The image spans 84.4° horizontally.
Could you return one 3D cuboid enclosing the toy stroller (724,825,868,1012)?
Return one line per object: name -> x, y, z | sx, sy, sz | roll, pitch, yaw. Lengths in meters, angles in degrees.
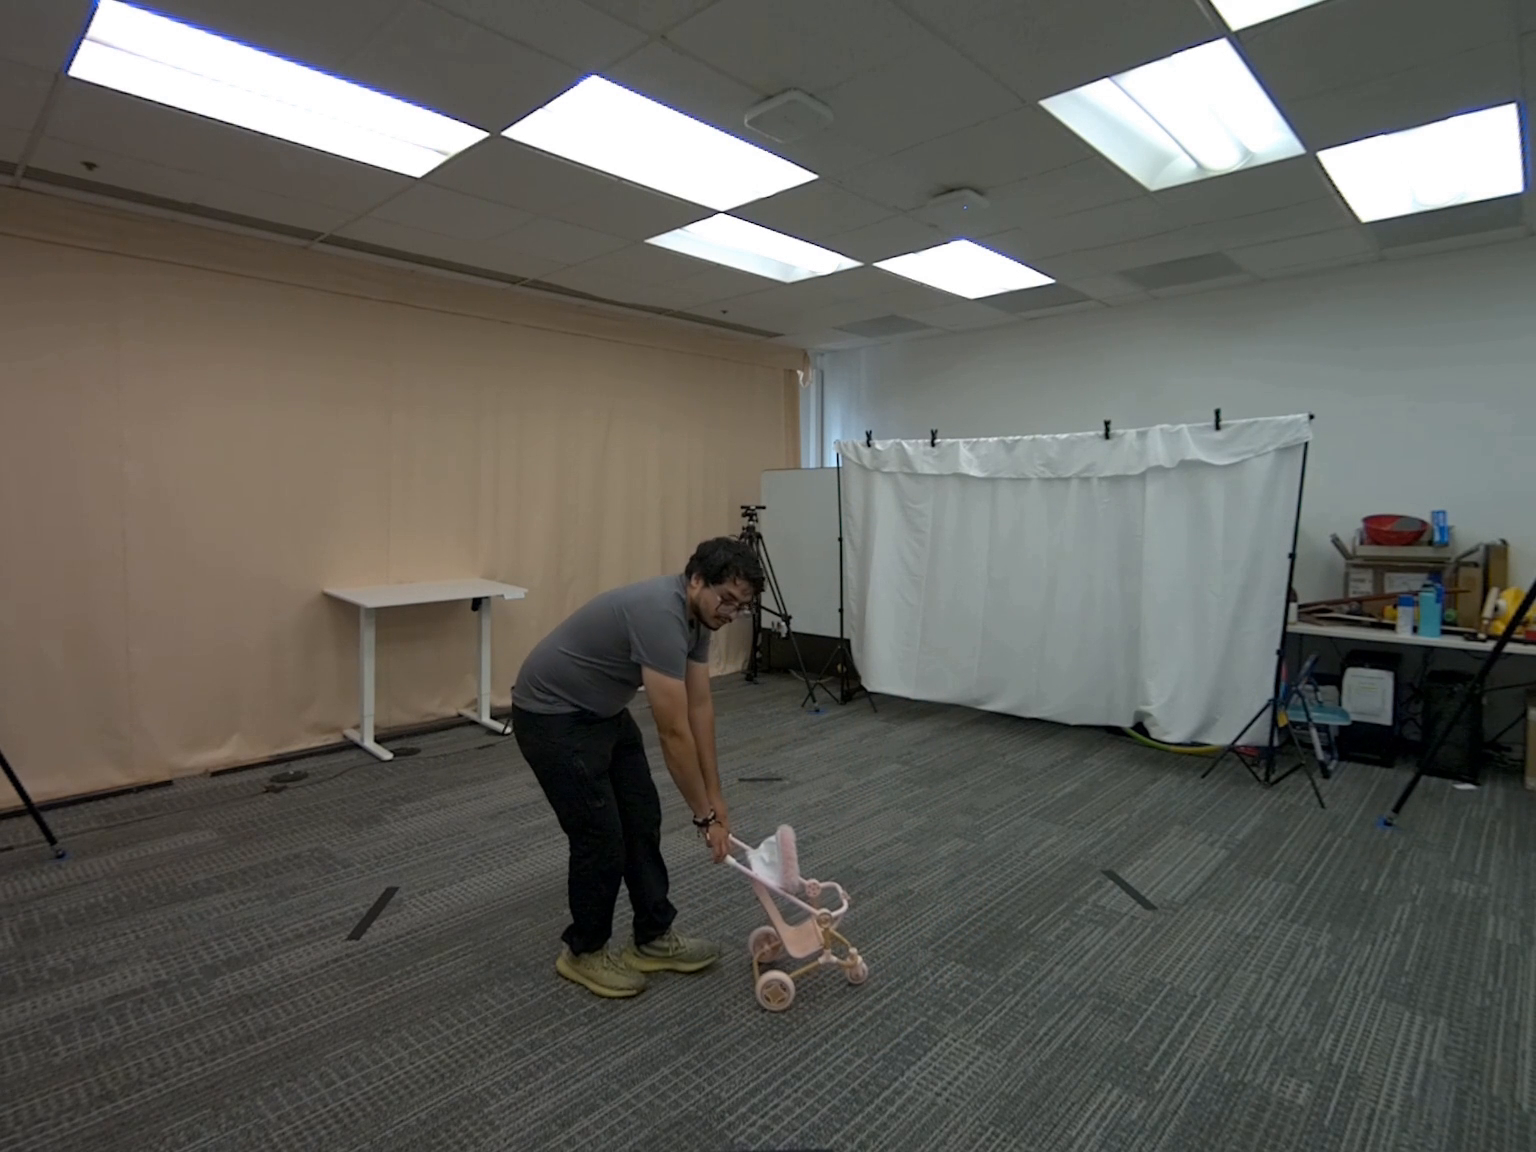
toy stroller -> 0.076, 0.968, 2.426 | 0.342, 0.534, 0.282 | -15, 3, 1
